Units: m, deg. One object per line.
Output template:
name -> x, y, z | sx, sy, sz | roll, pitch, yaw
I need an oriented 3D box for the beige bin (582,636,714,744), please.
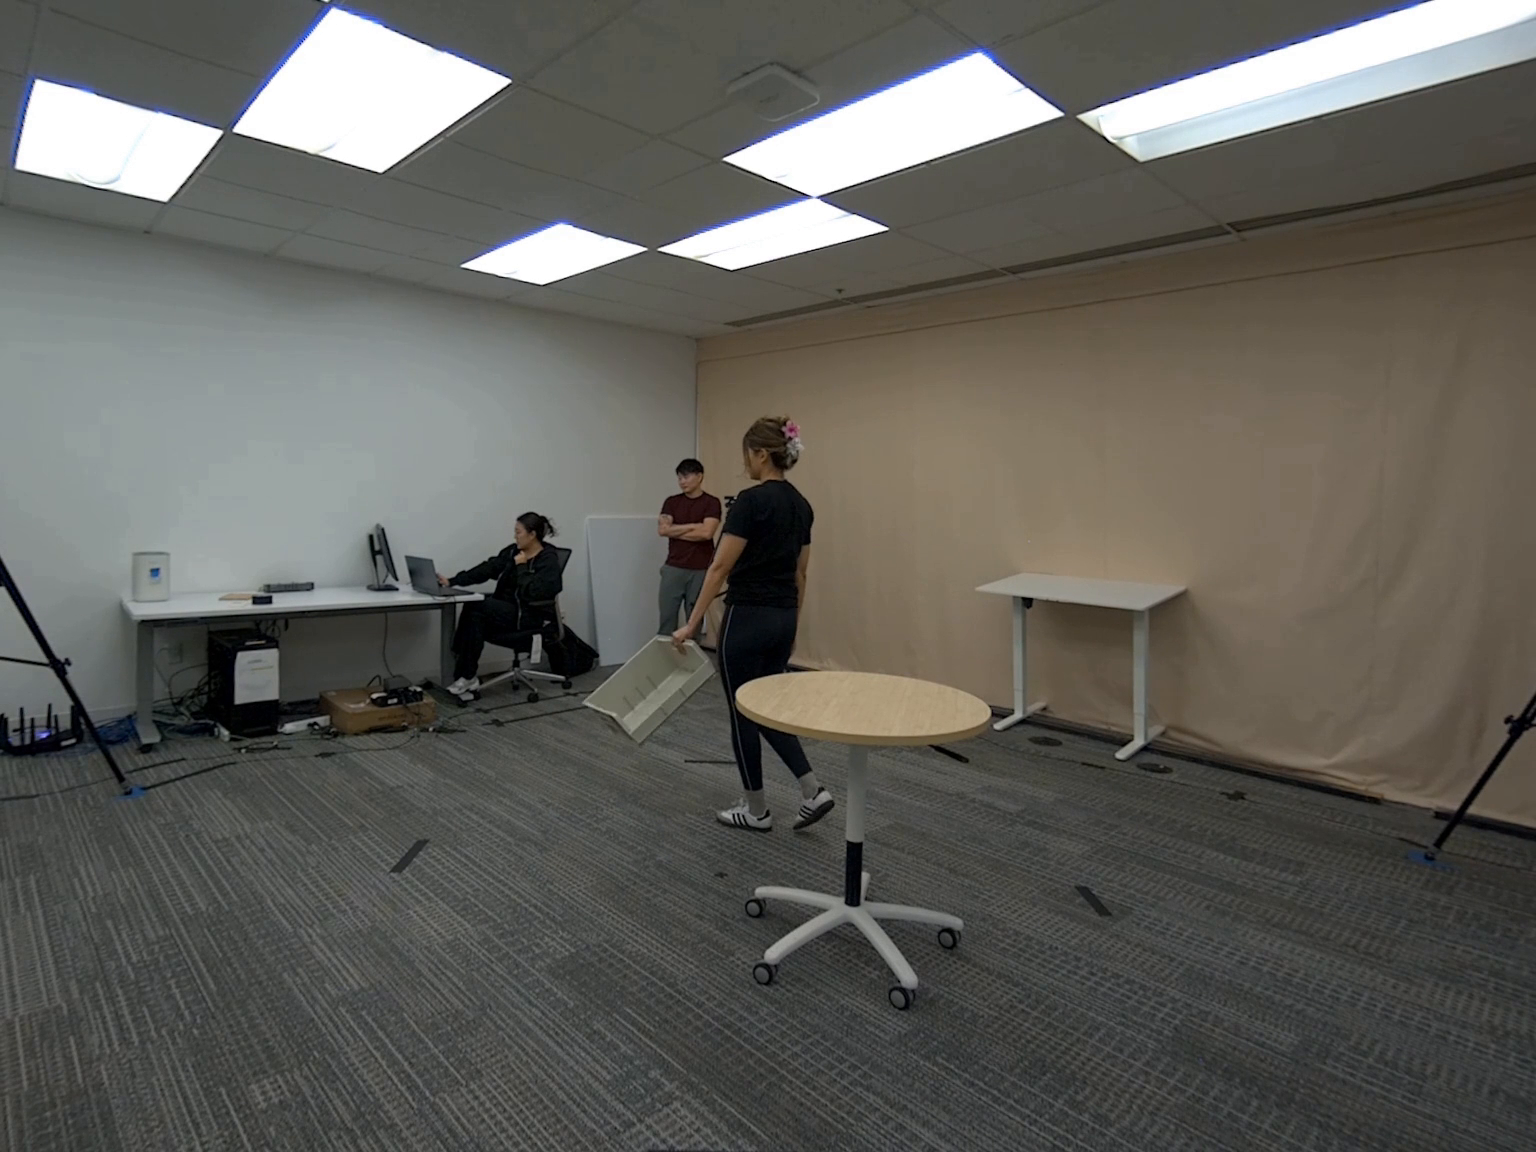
beige bin -> -0.461, 0.448, 3.308 | 0.421, 0.186, 0.384 | -43, 19, -24
